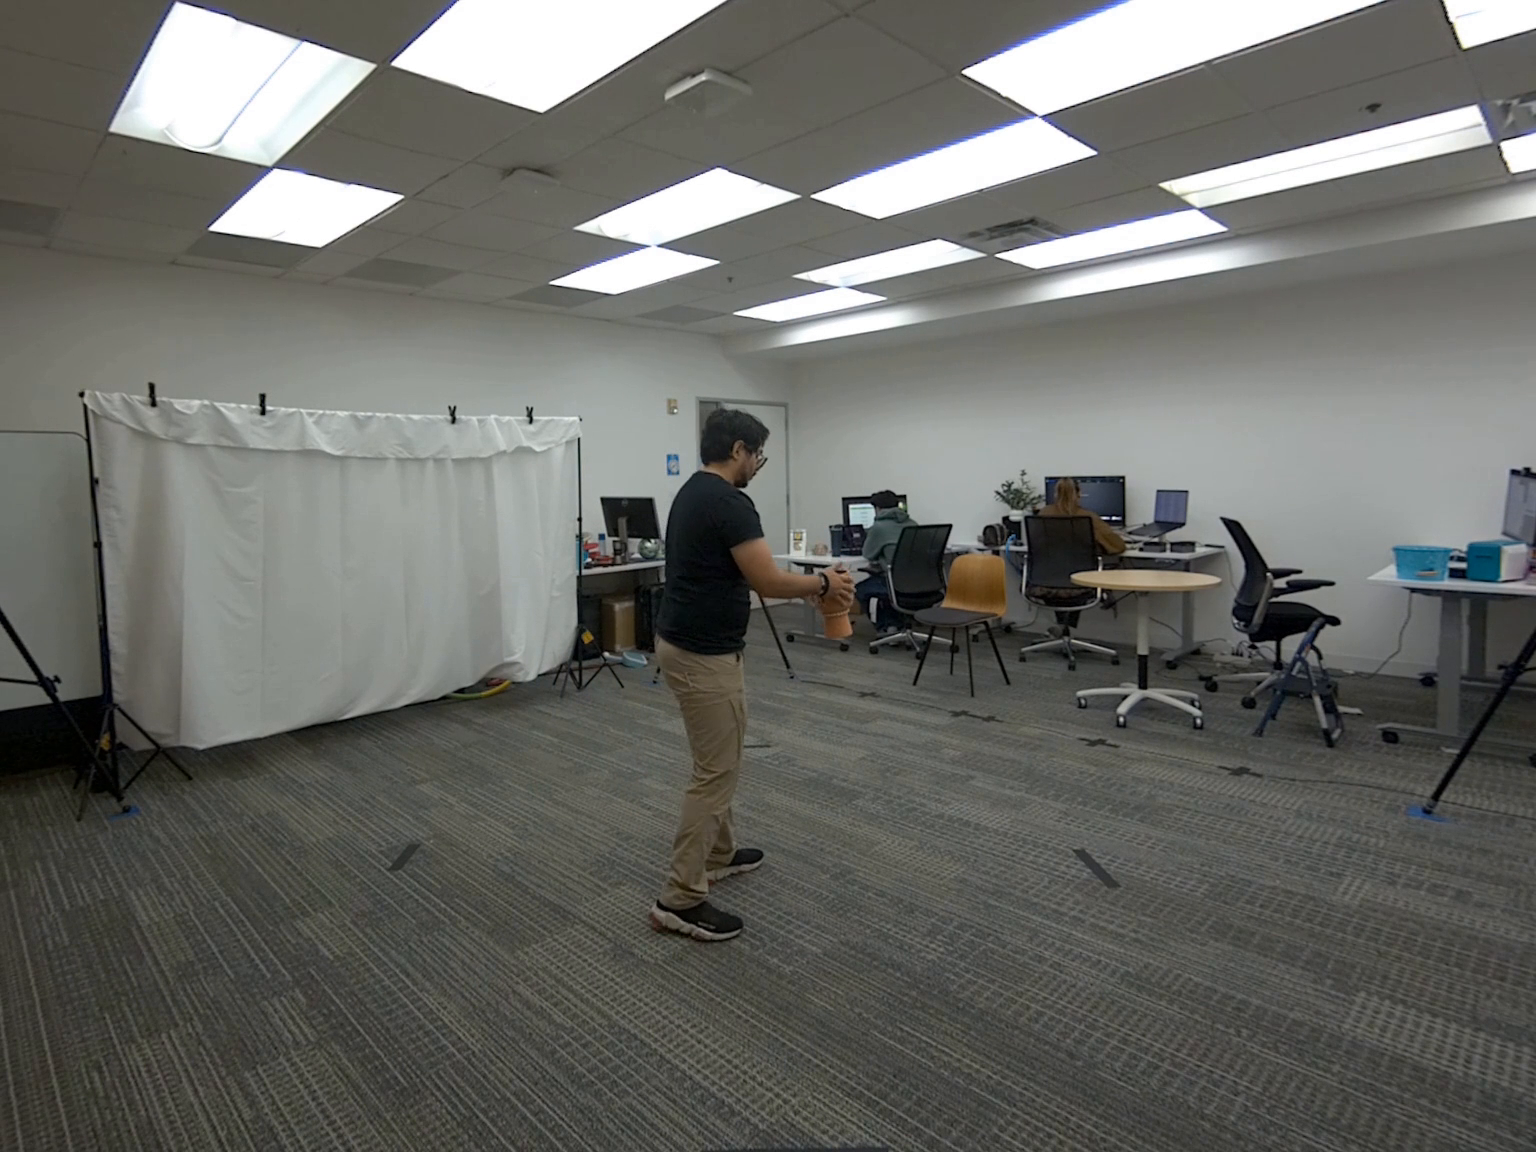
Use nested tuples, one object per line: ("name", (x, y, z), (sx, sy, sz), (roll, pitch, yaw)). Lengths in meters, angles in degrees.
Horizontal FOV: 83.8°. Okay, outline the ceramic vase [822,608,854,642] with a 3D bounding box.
("ceramic vase", (0.230, 0.103, 2.964), (0.158, 0.218, 0.137), (-9, 8, -9))
